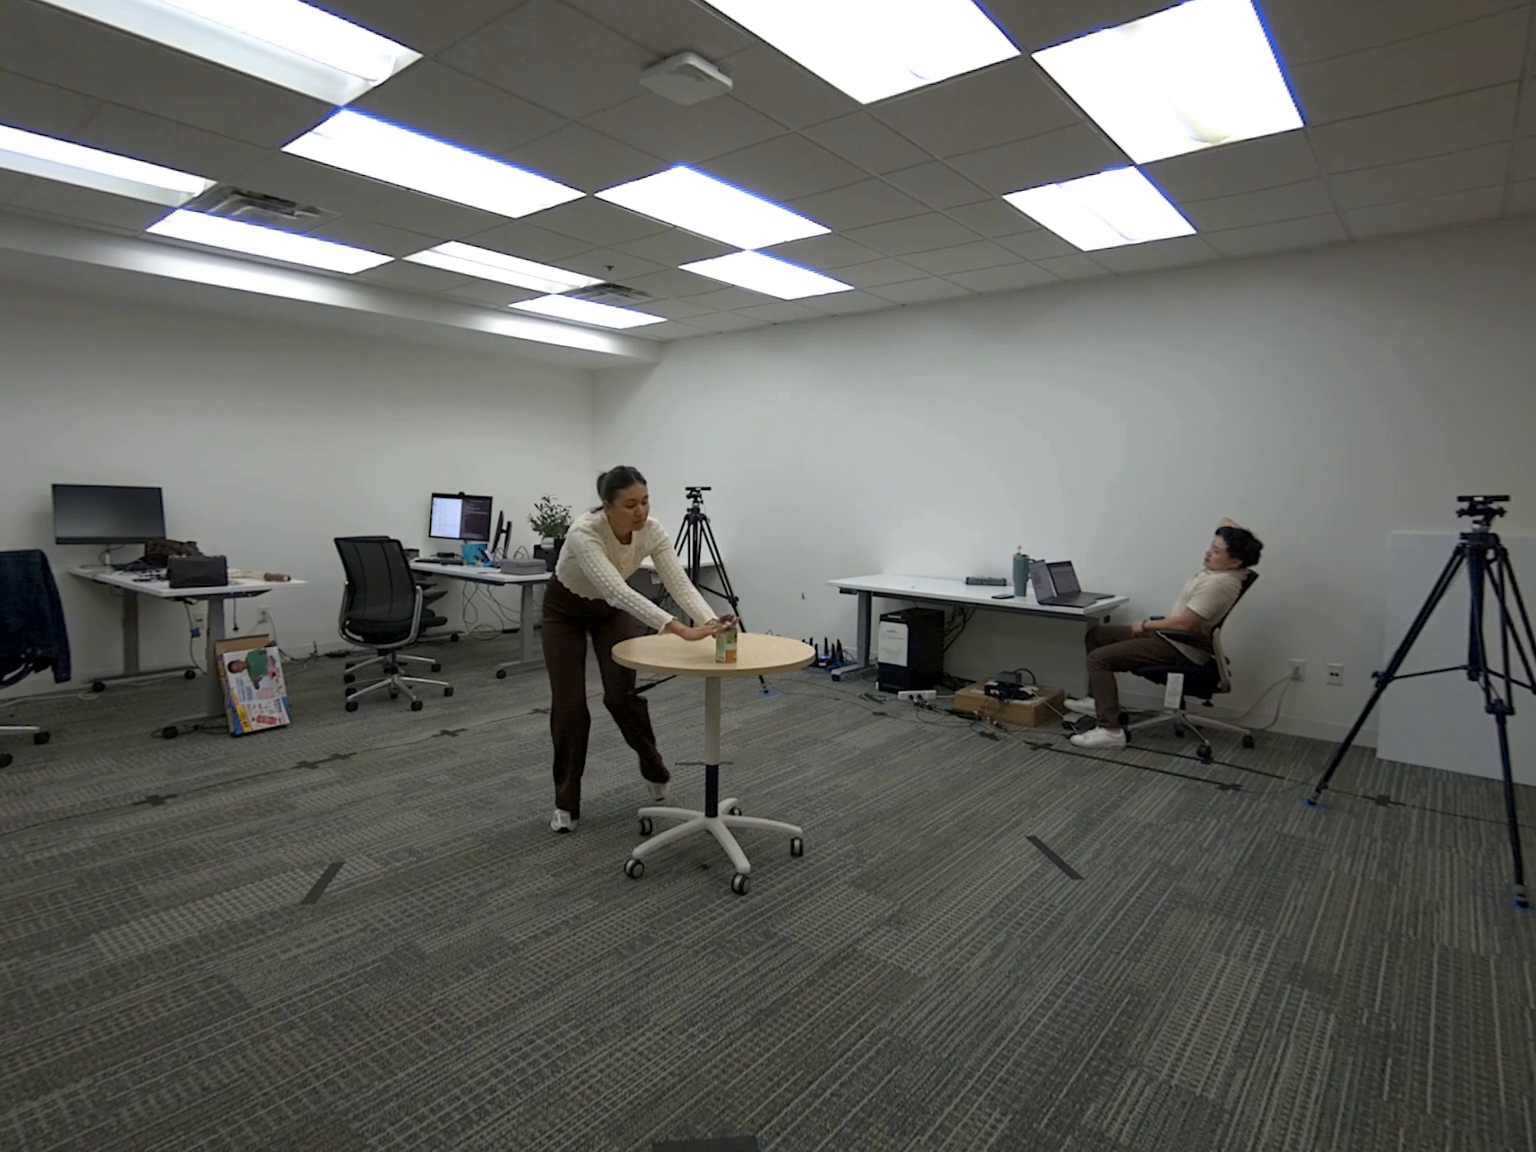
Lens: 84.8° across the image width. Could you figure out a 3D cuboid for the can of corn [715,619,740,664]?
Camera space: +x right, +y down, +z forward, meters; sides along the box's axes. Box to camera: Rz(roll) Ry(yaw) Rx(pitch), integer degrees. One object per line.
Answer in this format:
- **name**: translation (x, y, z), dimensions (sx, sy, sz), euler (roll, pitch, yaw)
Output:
- **can of corn**: translation (-0.155, 0.242, 2.971), dimensions (0.074, 0.111, 0.074), euler (-1, 3, -2)
